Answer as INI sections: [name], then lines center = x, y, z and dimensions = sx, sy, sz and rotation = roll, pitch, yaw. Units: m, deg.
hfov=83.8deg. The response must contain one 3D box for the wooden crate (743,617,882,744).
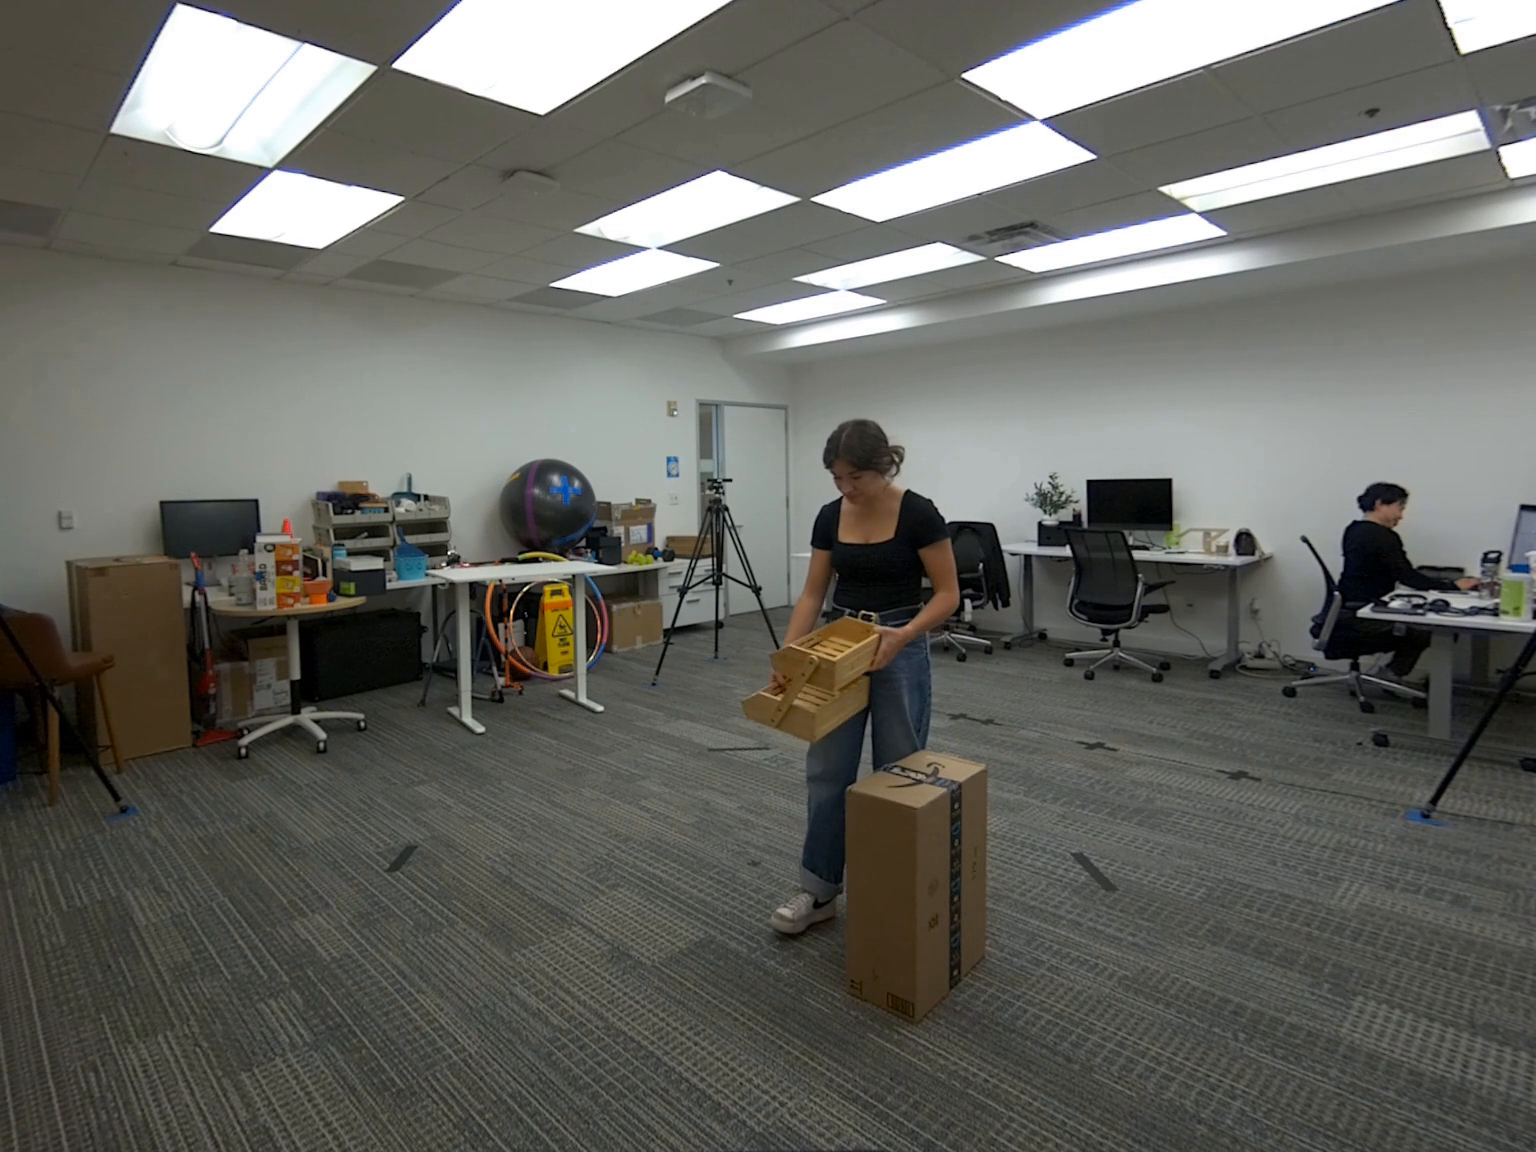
[wooden crate]
center = 0.125, 0.280, 2.445
dimensions = 0.310, 0.270, 0.320
rotation = 10, 17, 27
